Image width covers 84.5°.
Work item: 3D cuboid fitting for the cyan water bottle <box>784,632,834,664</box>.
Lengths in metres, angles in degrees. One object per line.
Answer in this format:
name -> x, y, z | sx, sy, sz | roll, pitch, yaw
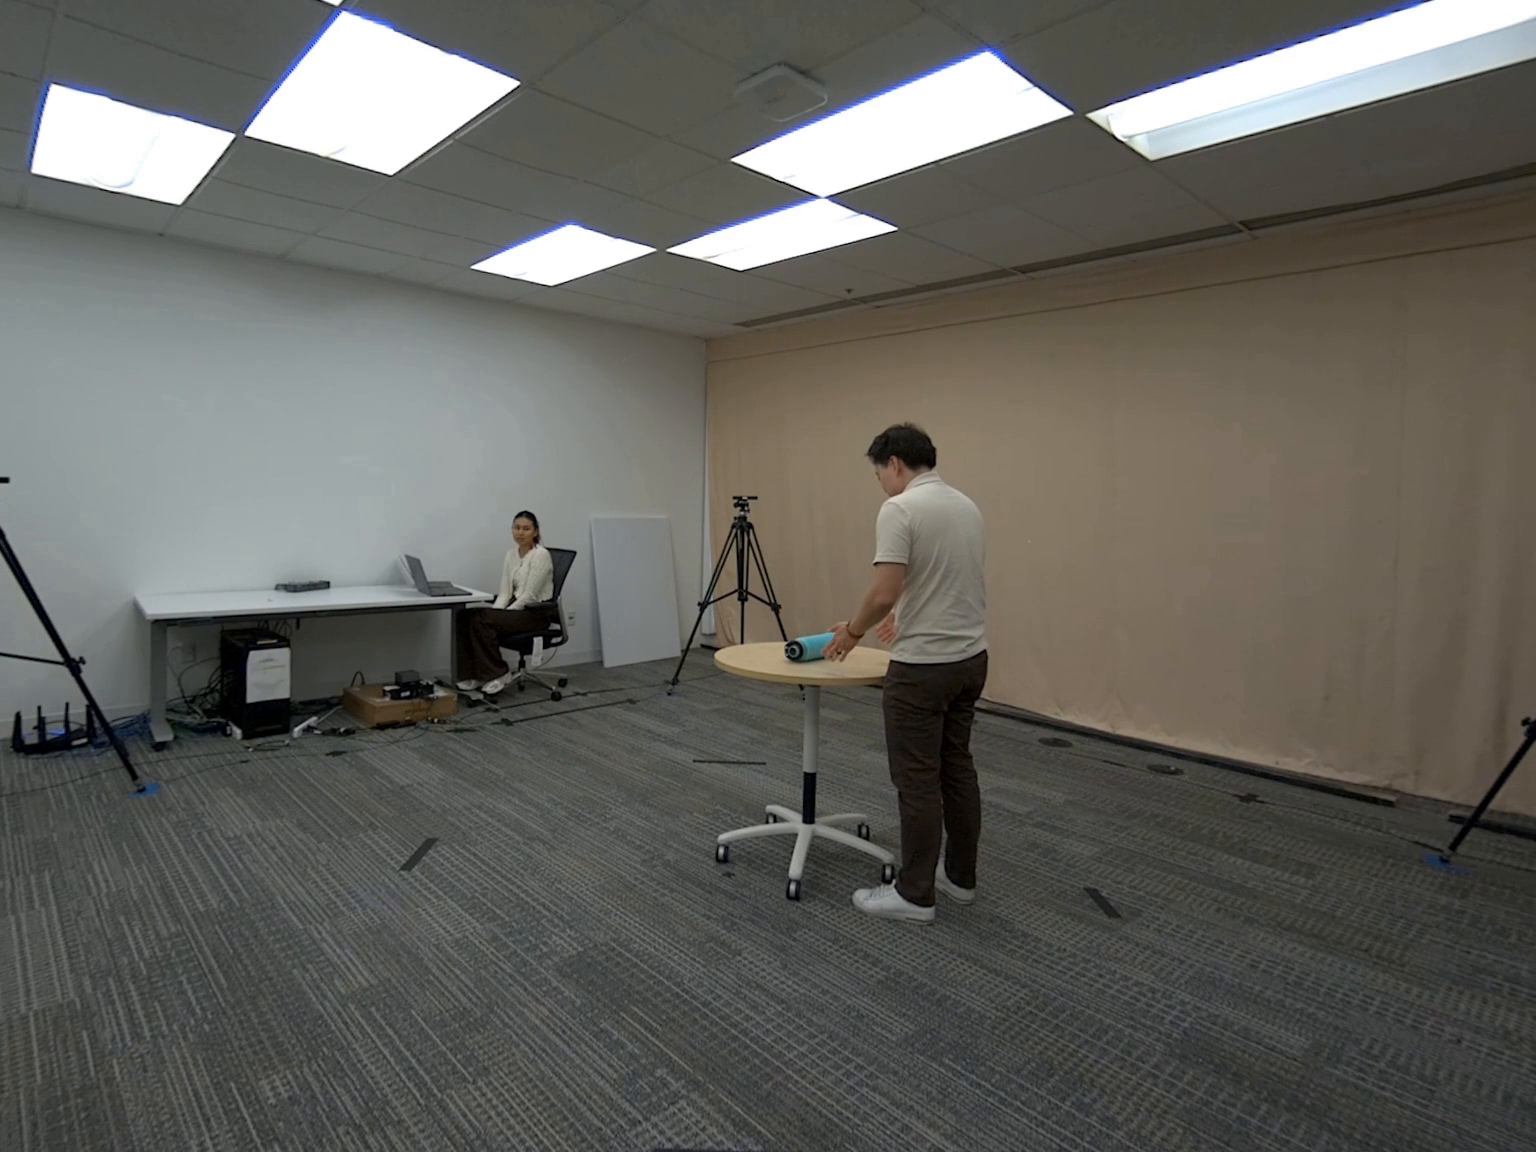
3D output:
cyan water bottle -> 0.169, 0.271, 3.201 | 0.095, 0.092, 0.277 | 5, 6, 42
